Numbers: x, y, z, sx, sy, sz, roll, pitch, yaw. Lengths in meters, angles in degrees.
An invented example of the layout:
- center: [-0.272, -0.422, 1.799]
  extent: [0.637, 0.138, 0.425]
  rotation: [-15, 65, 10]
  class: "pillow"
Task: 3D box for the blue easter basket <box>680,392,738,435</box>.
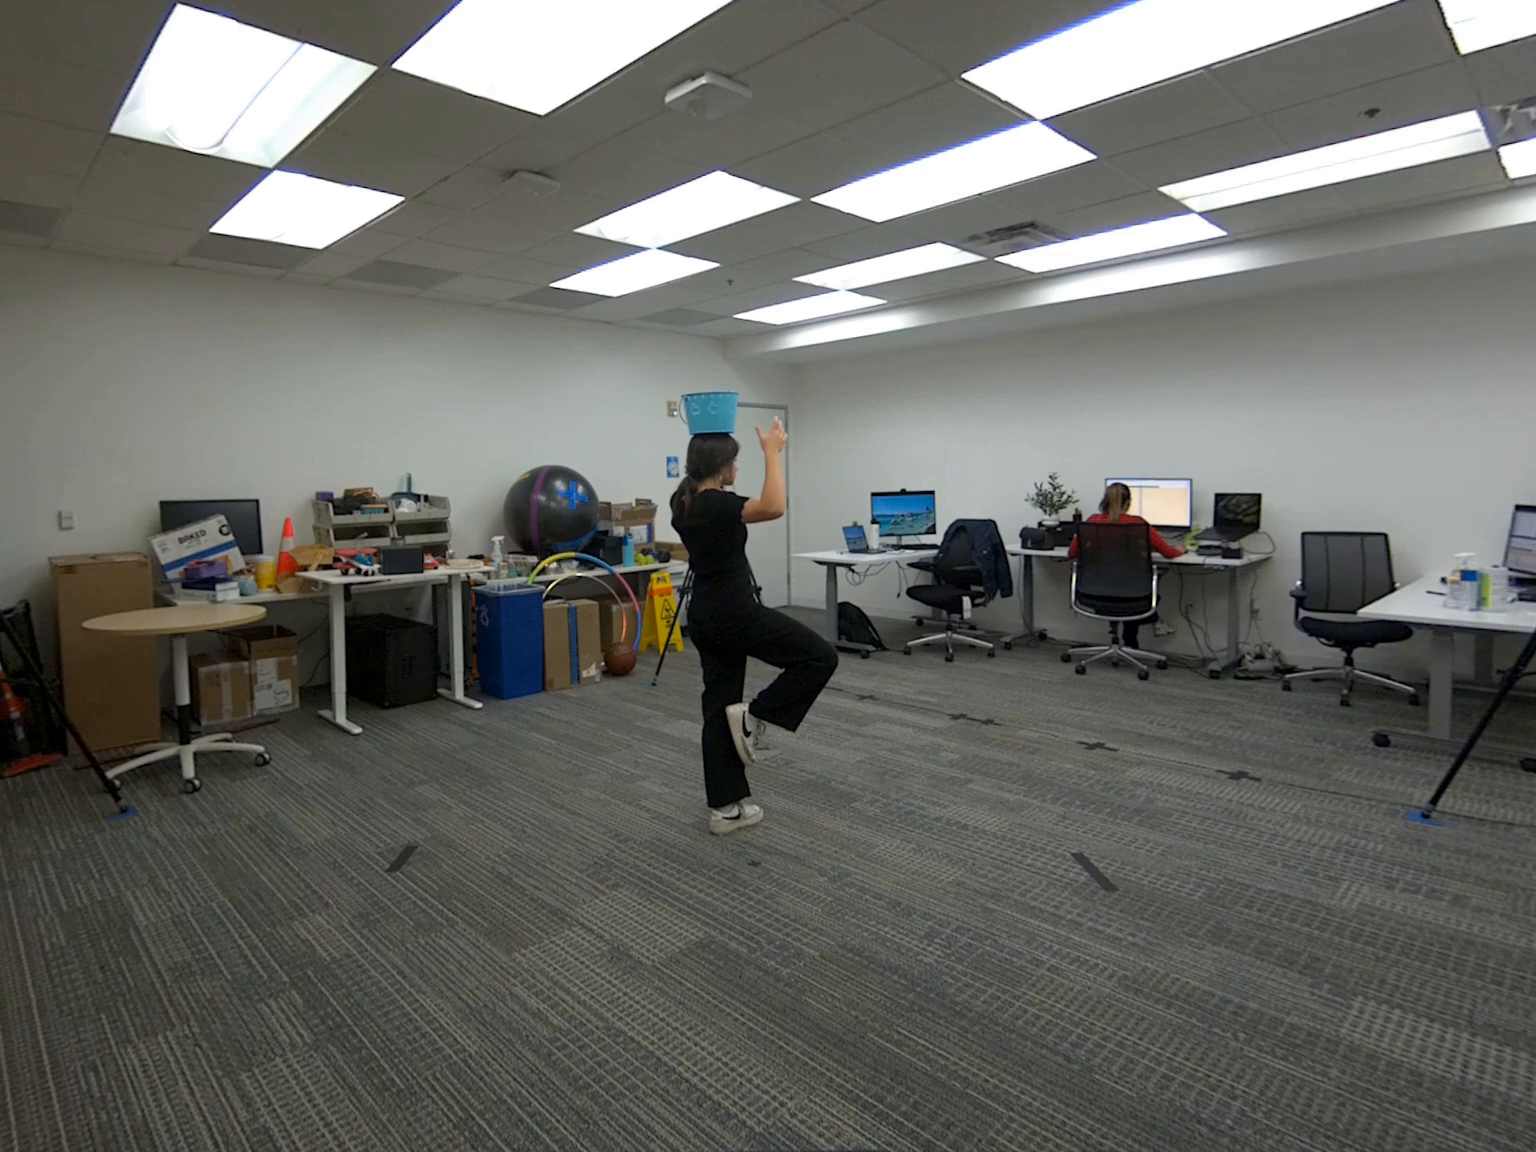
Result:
- center: [-0.229, -0.639, 3.370]
  extent: [0.243, 0.155, 0.245]
  rotation: [-3, 6, -1]
  class: "blue easter basket"
